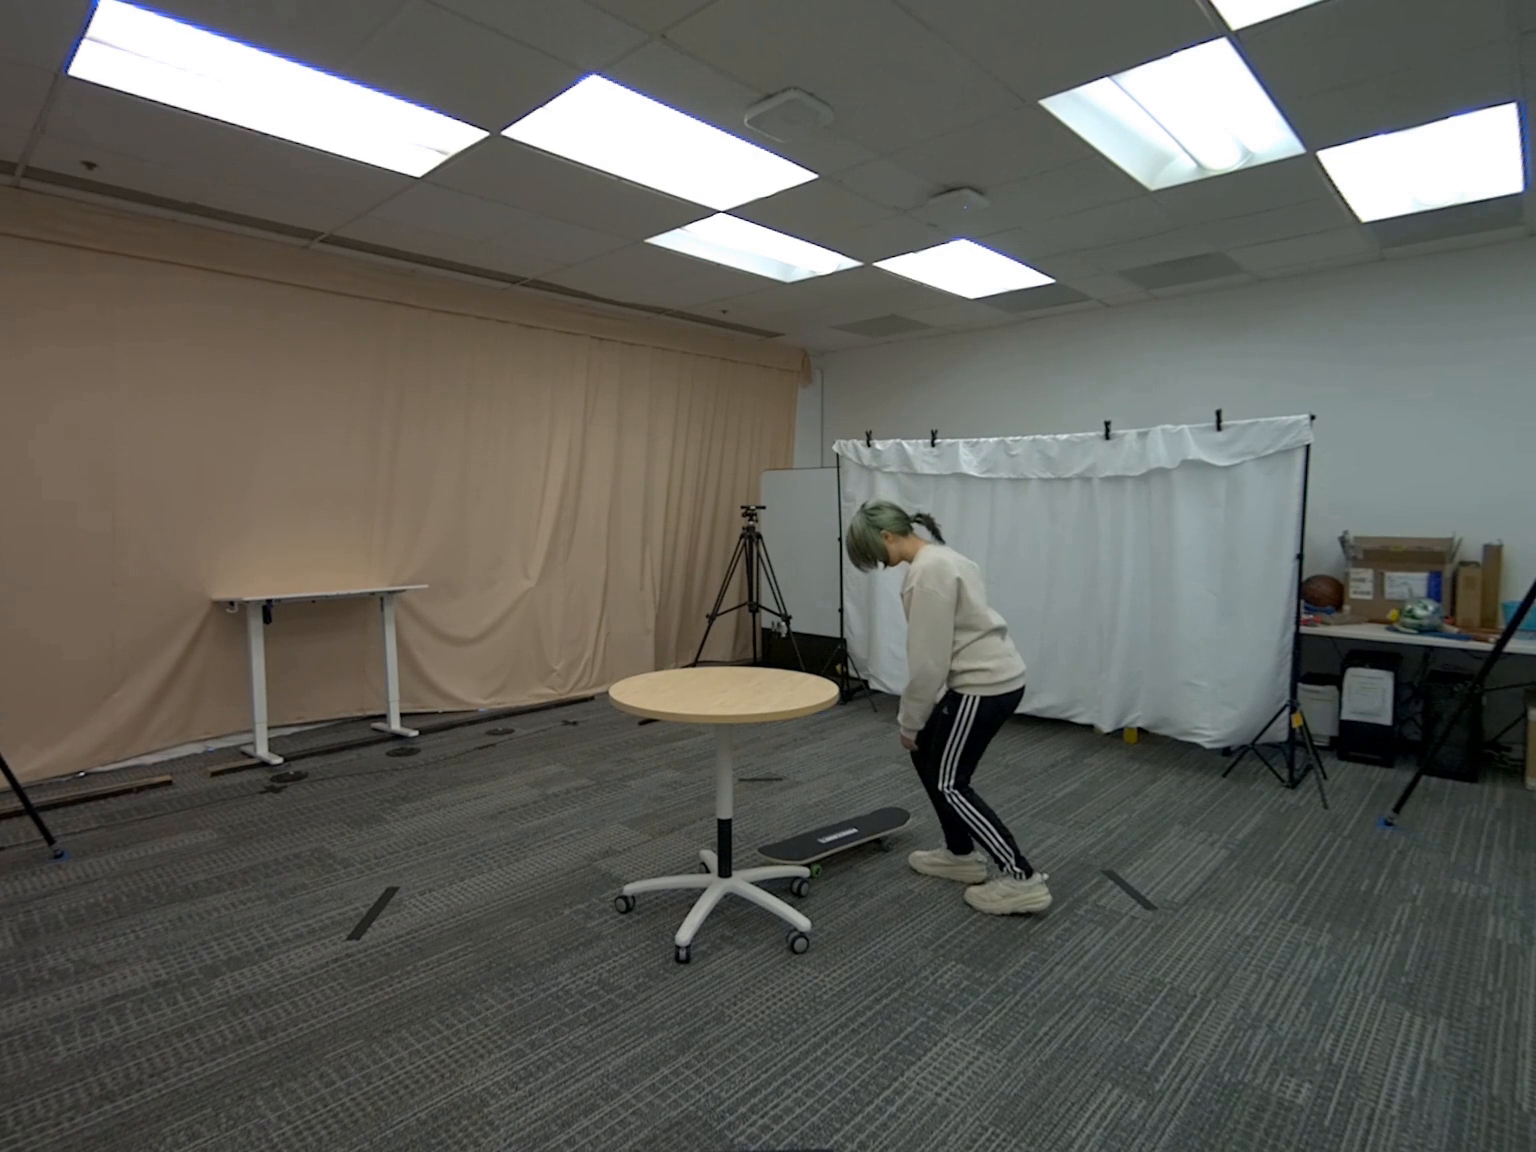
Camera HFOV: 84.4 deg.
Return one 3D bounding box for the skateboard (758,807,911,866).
[{"bbox_3d":[0.280,1.059,3.323,0.762,0.110,0.200,-4,6,-39],"label":"skateboard"}]
